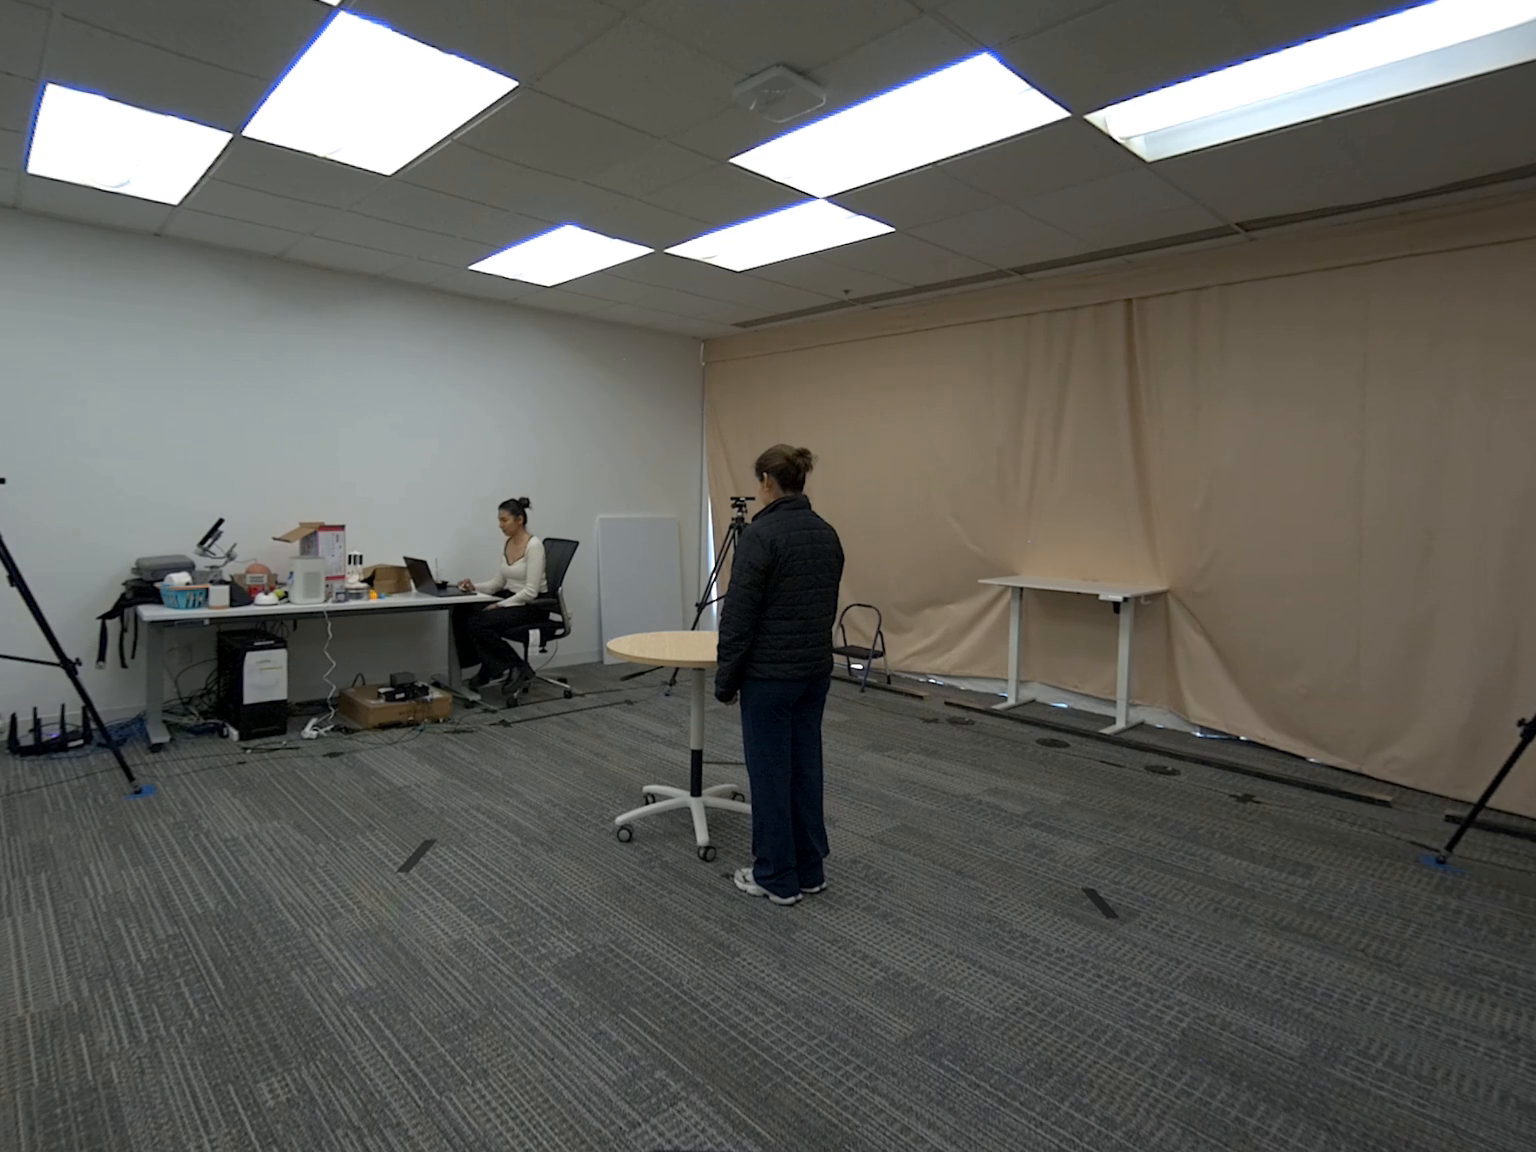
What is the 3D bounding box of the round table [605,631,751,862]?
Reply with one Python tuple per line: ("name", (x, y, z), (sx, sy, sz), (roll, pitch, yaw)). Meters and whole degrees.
("round table", (-0.304, 0.676, 3.510), (0.784, 0.785, 0.787), (1, 3, -1))
